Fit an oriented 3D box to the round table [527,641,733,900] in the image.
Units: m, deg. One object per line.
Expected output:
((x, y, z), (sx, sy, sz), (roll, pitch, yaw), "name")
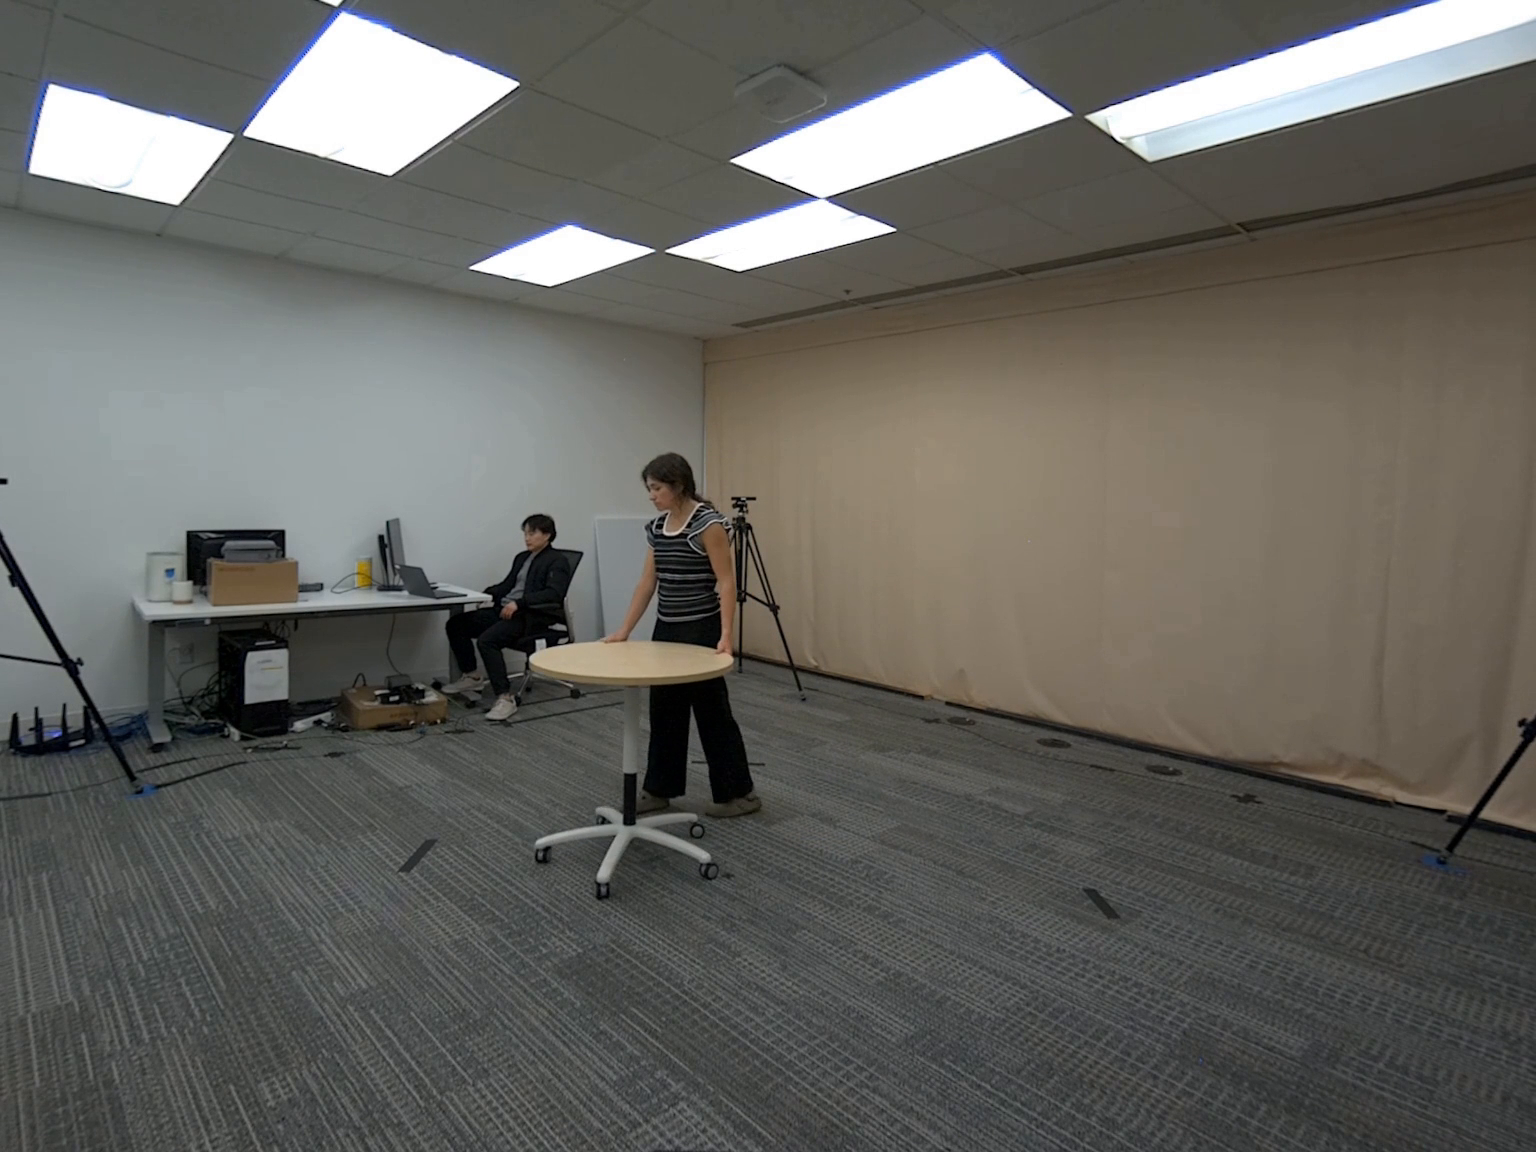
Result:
((-0.527, 0.703, 3.197), (0.763, 0.792, 0.766), (1, 3, -1), "round table")
